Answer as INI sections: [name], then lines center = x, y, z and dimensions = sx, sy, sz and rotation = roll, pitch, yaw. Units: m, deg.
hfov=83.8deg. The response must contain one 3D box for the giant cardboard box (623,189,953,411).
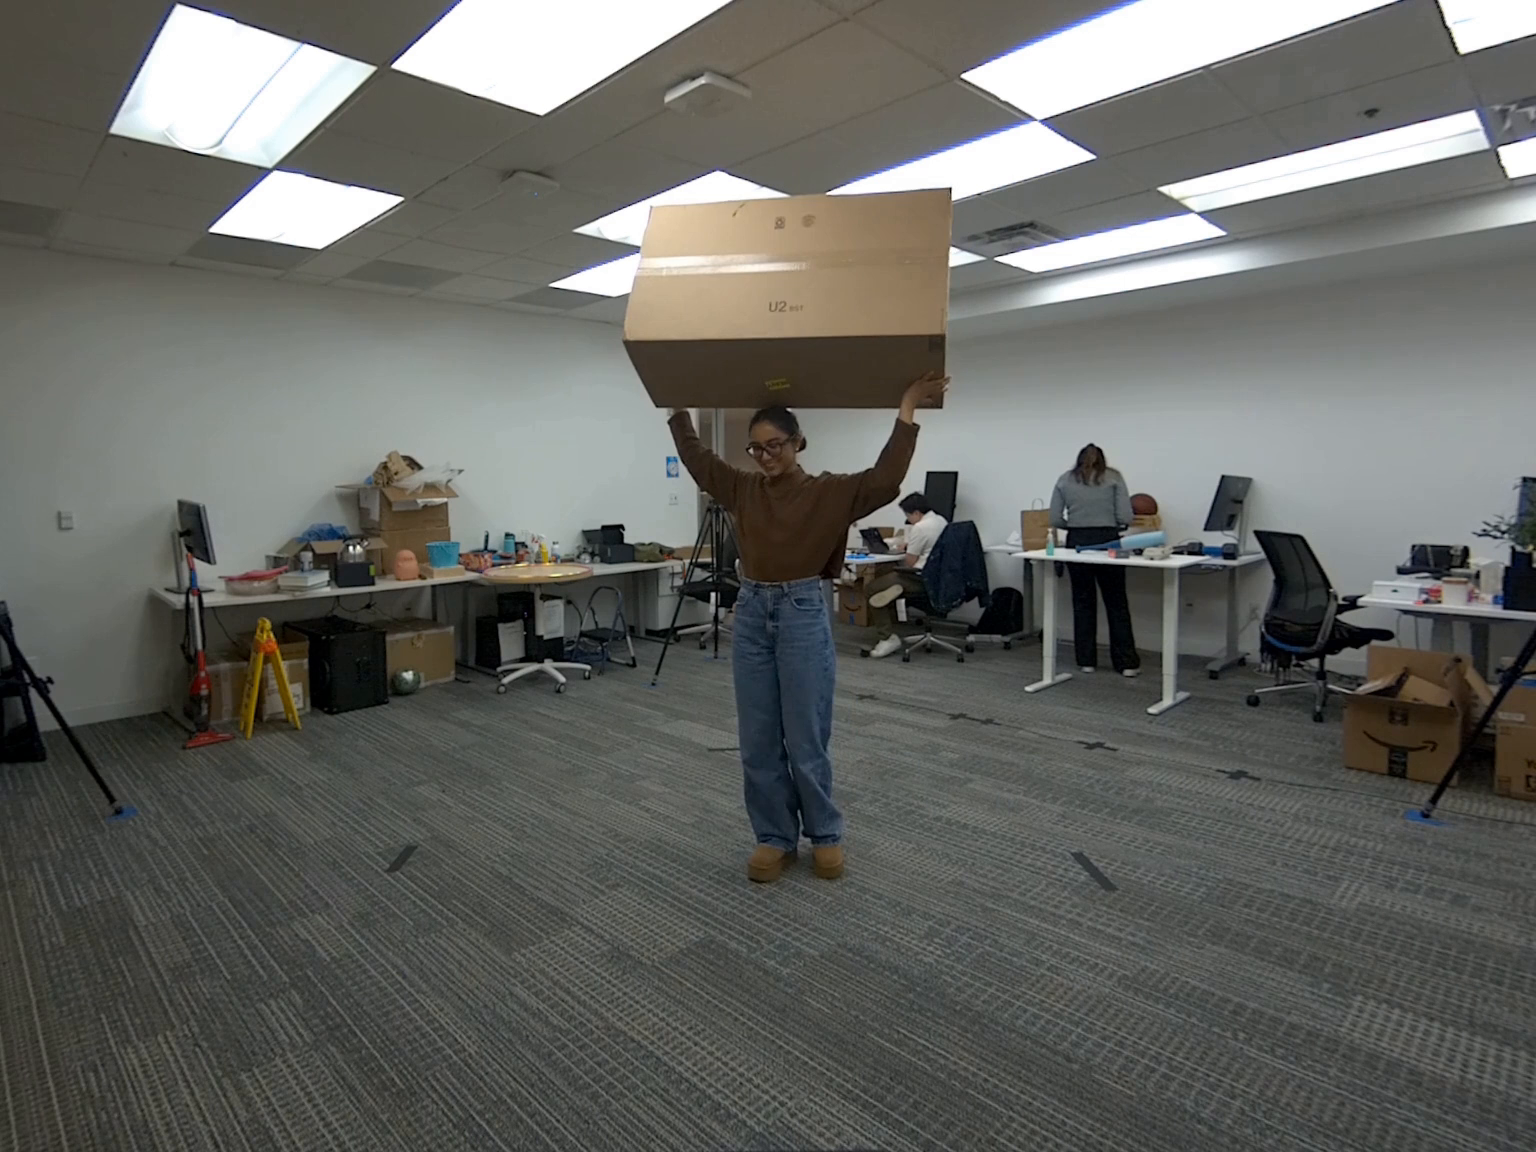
[giant cardboard box]
center = 0.091, -0.925, 2.929
dimensions = 1.040, 0.586, 0.414
rotation = 3, -22, 14
